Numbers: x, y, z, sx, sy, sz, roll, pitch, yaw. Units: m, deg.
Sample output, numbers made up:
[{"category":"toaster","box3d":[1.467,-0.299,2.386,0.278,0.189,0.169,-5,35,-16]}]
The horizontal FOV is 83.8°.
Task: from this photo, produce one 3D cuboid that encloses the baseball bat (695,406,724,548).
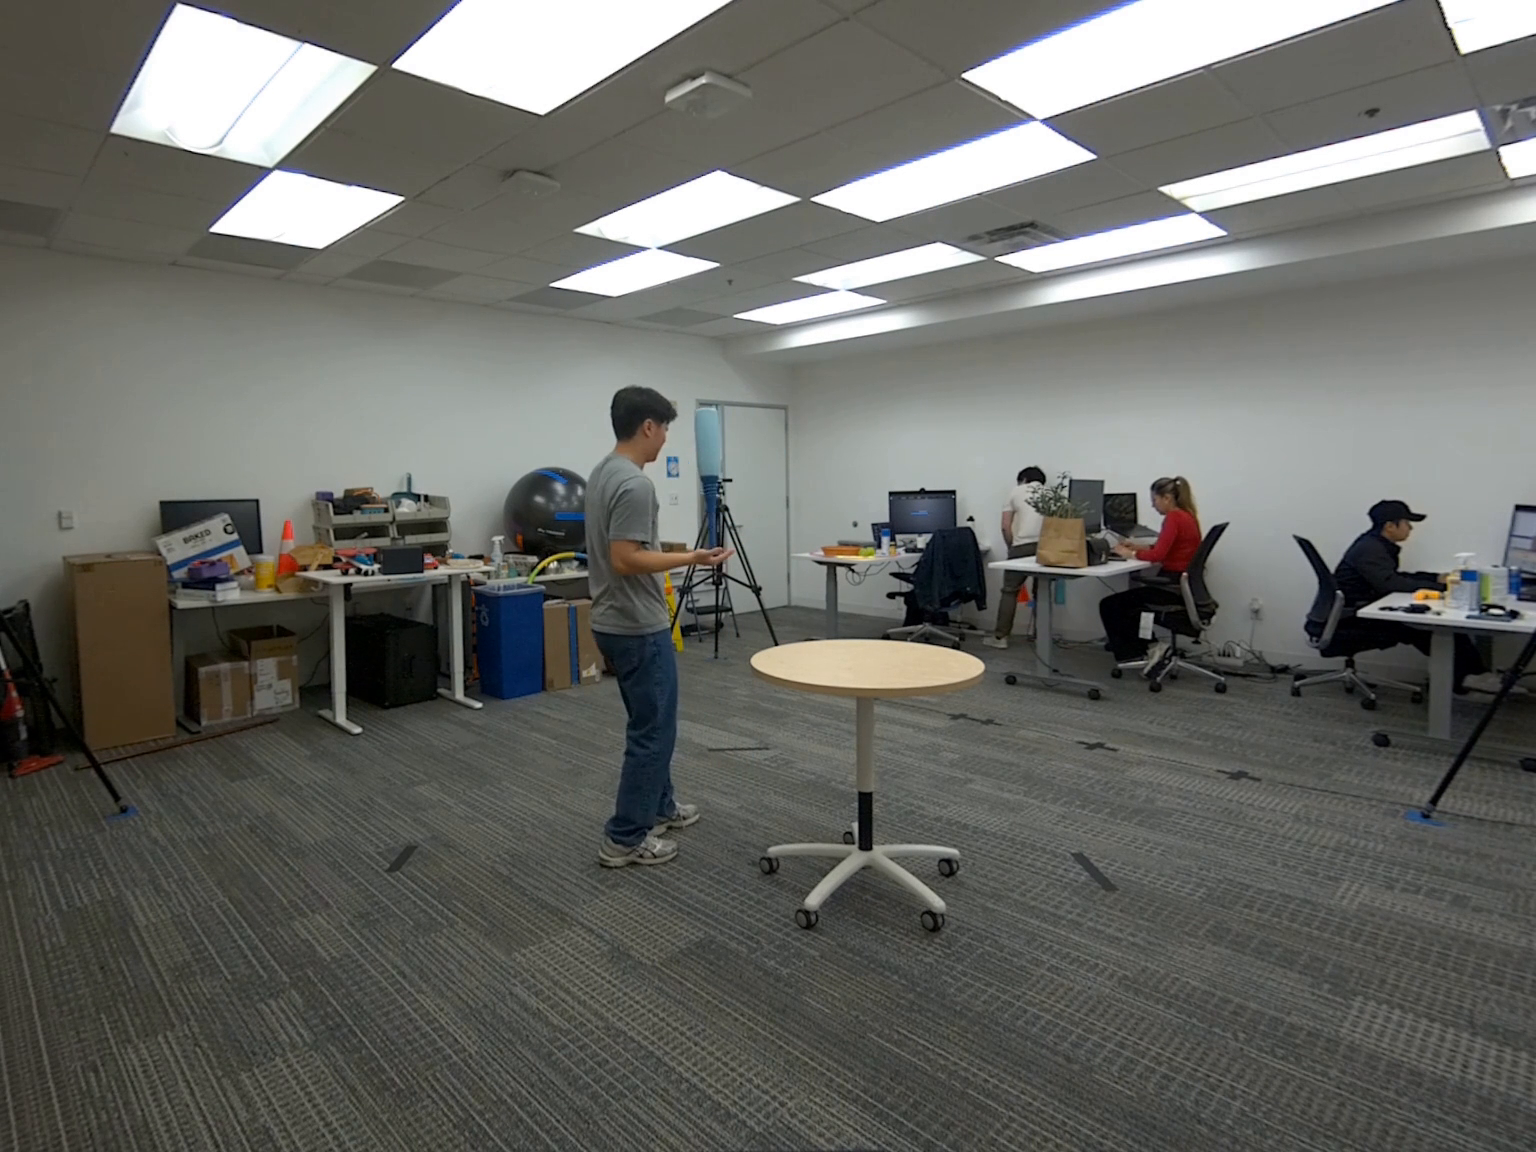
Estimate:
[{"category":"baseball bat","box3d":[-0.217,-0.339,3.090,0.089,0.545,0.089,-2,-4,-2]}]
